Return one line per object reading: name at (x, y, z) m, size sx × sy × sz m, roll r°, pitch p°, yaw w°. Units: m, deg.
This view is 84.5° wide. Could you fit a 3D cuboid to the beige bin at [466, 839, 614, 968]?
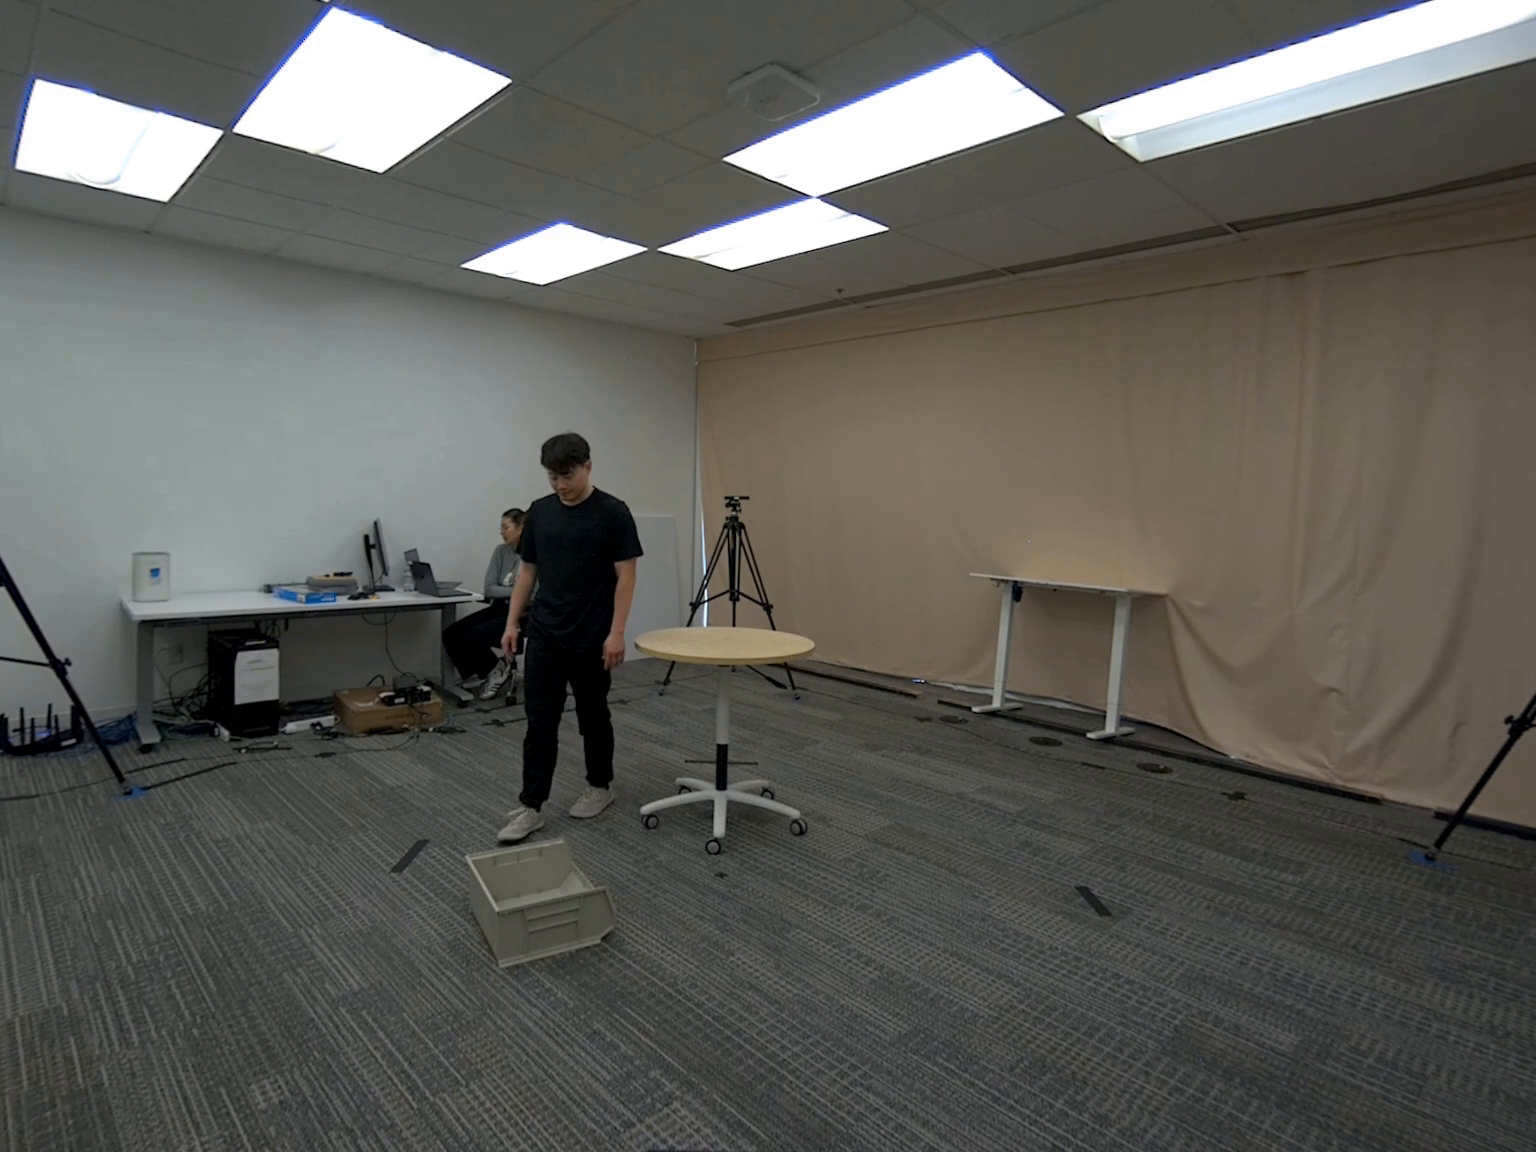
beige bin at (-0.748, 1.041, 2.712) m, size 0.370 × 0.188 × 0.432 m, roll -3°, pitch 7°, yaw -31°
